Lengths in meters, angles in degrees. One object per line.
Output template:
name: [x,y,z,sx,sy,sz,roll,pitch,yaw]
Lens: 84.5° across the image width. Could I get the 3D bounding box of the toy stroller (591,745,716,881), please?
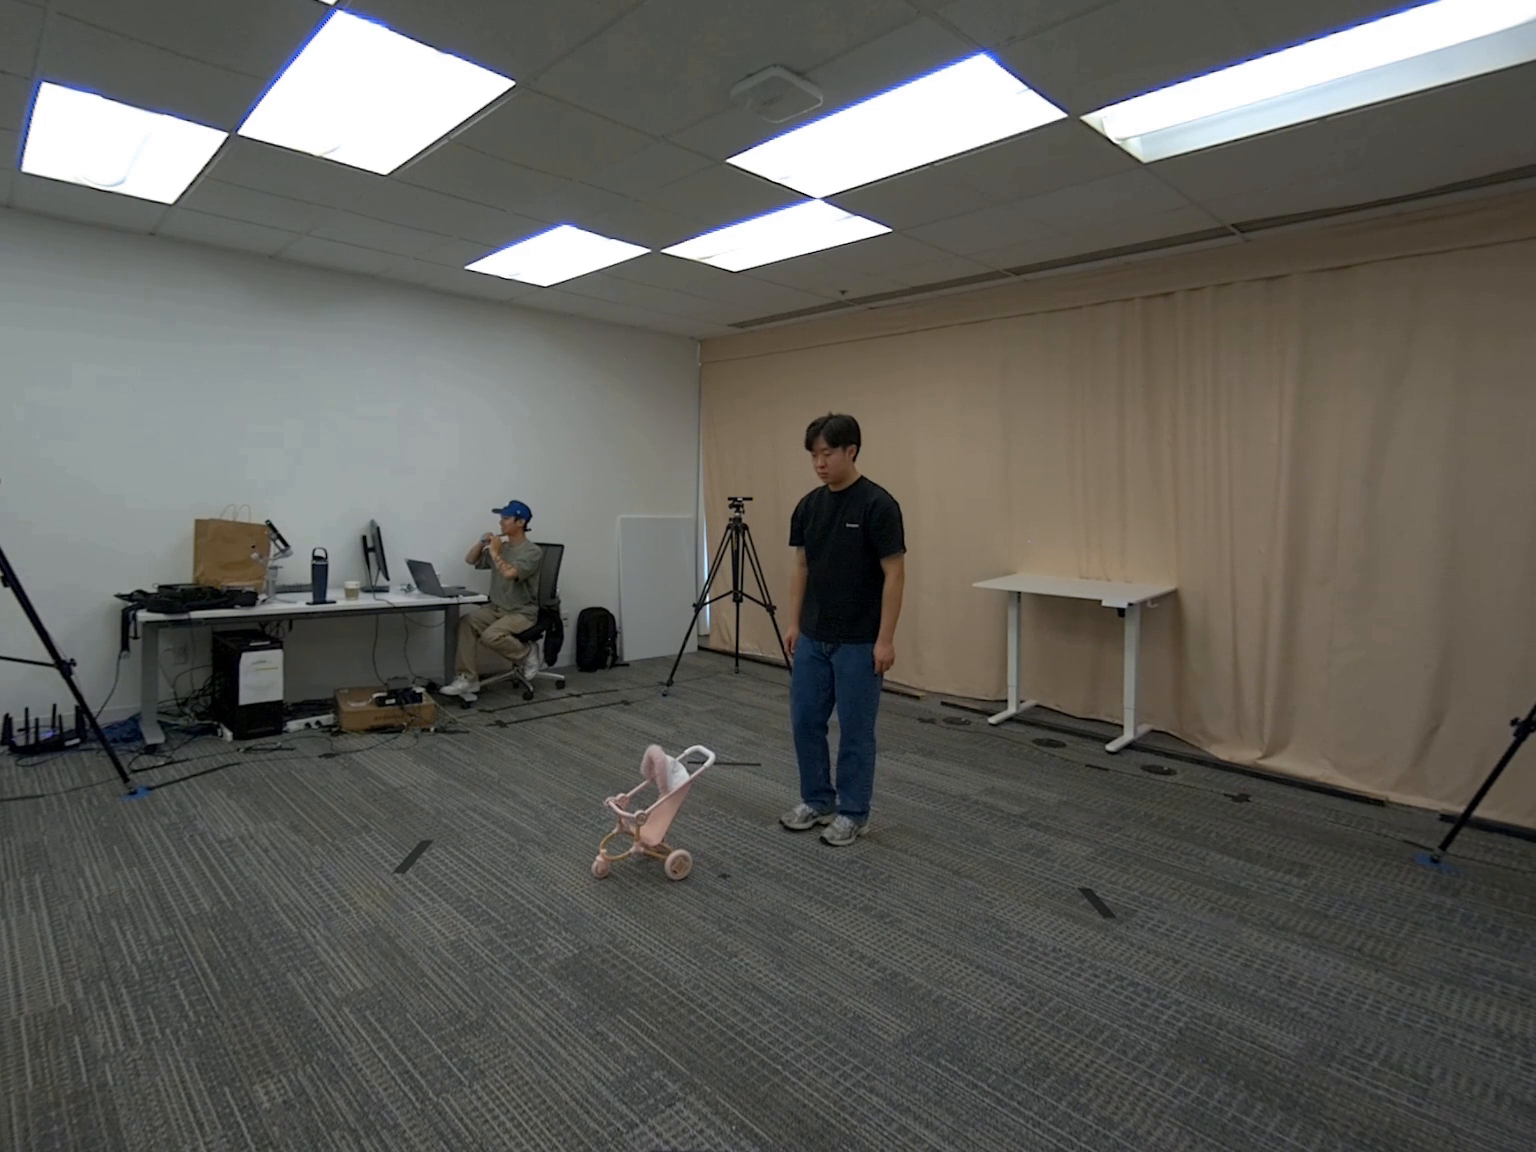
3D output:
toy stroller: [-0.449,0.875,3.140,0.334,0.536,0.287,17,-3,-23]
